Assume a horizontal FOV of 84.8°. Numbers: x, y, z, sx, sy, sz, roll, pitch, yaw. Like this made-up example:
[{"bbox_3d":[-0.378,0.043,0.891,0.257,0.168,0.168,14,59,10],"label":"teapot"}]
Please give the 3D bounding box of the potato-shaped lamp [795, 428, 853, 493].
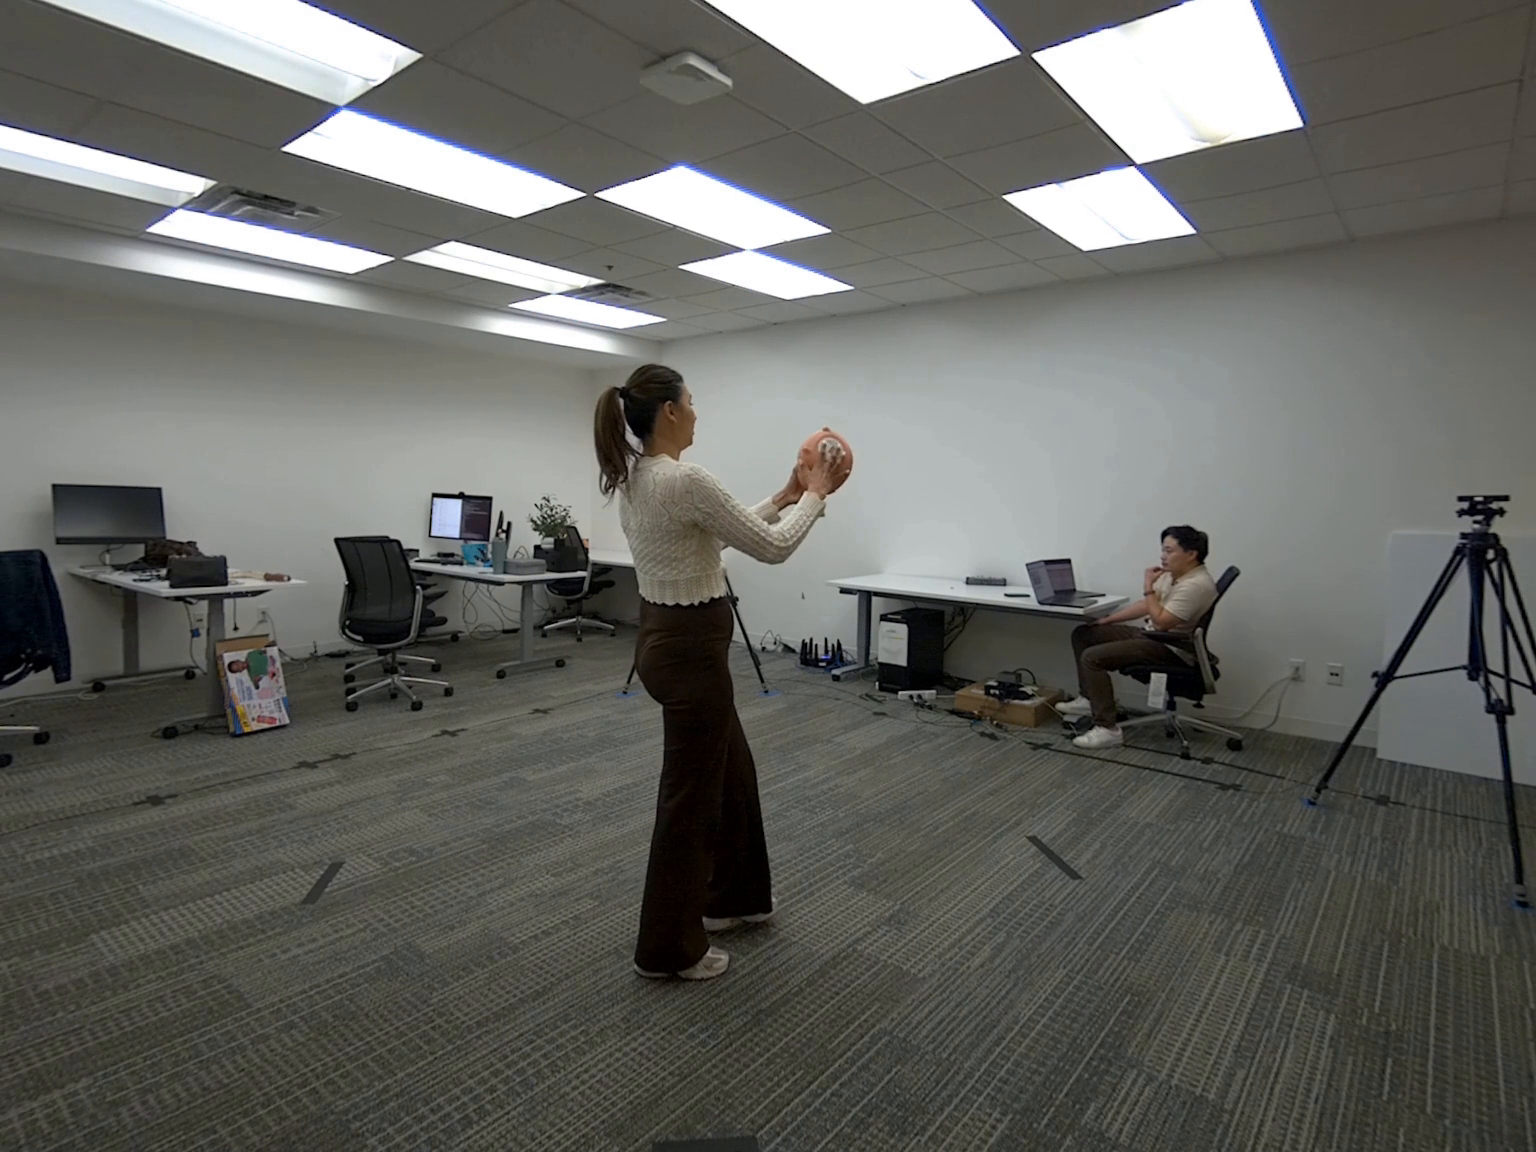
[{"bbox_3d":[0.152,-0.342,2.593,0.172,0.165,0.198,40,-25,-1],"label":"potato-shaped lamp"}]
